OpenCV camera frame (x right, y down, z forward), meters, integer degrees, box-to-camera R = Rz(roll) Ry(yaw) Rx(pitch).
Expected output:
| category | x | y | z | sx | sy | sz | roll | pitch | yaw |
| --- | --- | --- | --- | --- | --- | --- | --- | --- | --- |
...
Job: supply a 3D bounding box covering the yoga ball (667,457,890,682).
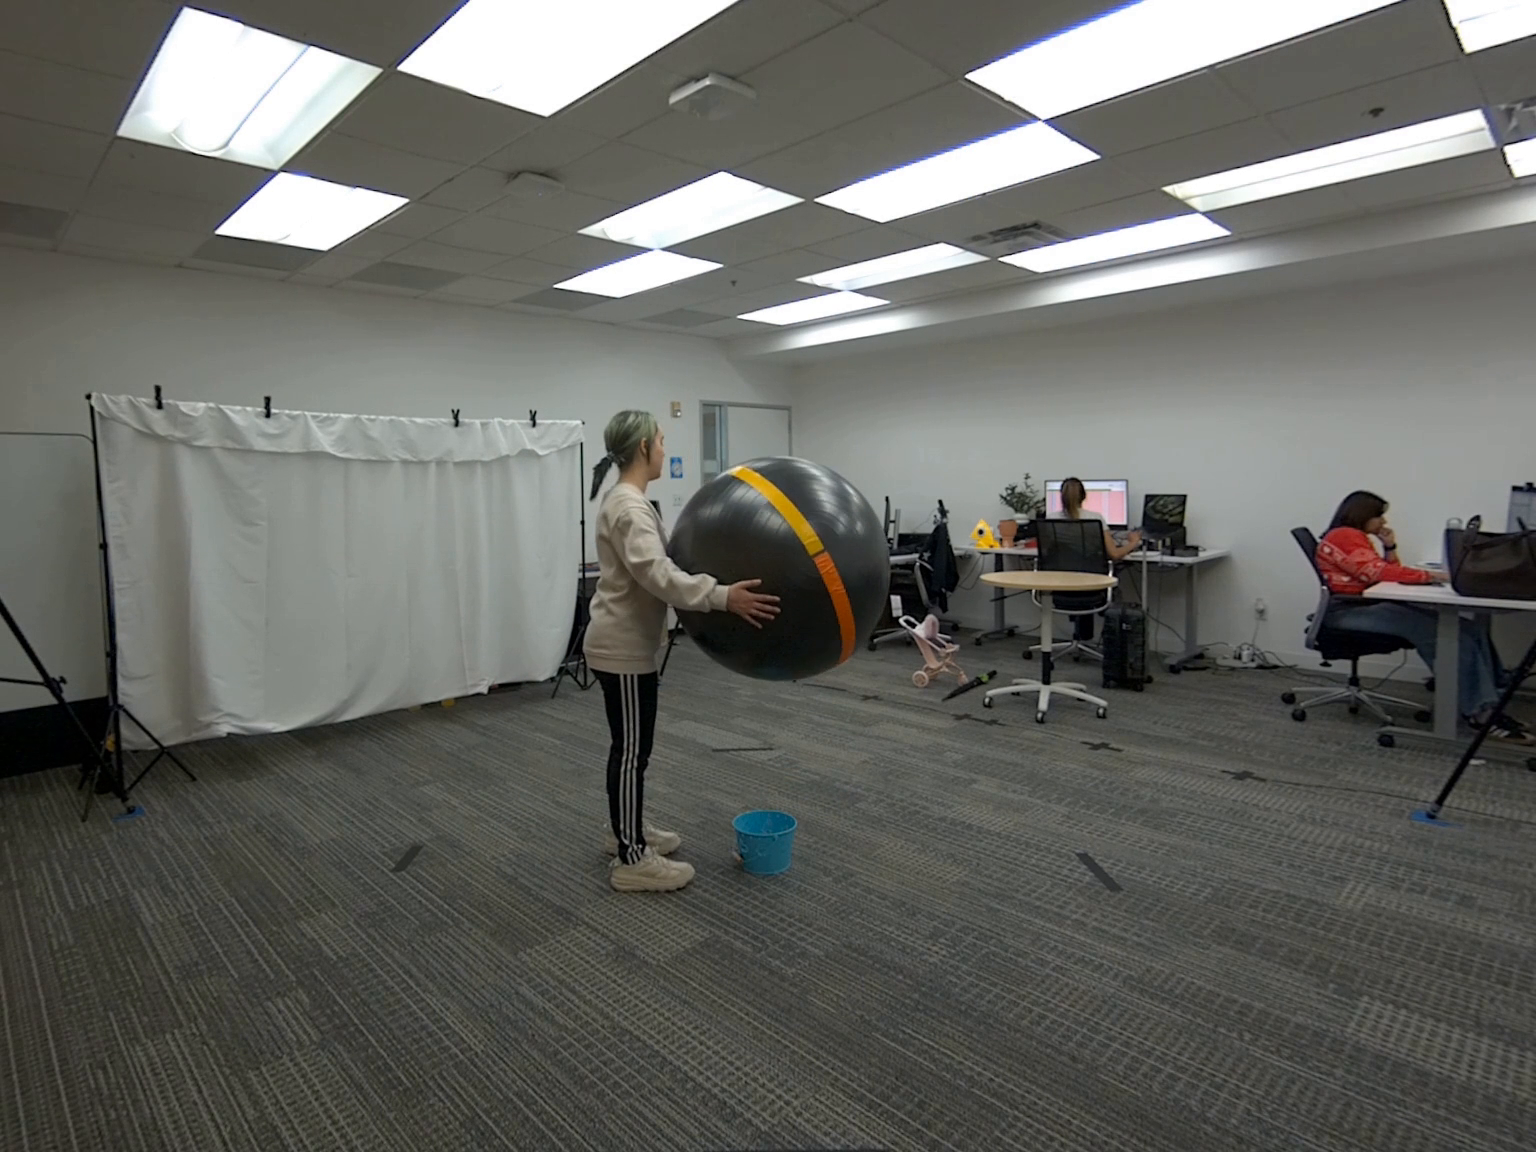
| category | x | y | z | sx | sy | sz | roll | pitch | yaw |
| --- | --- | --- | --- | --- | --- | --- | --- | --- | --- |
| yoga ball | 0.037 | -0.018 | 2.908 | 0.757 | 0.755 | 0.762 | -1 | 5 | -2 |
